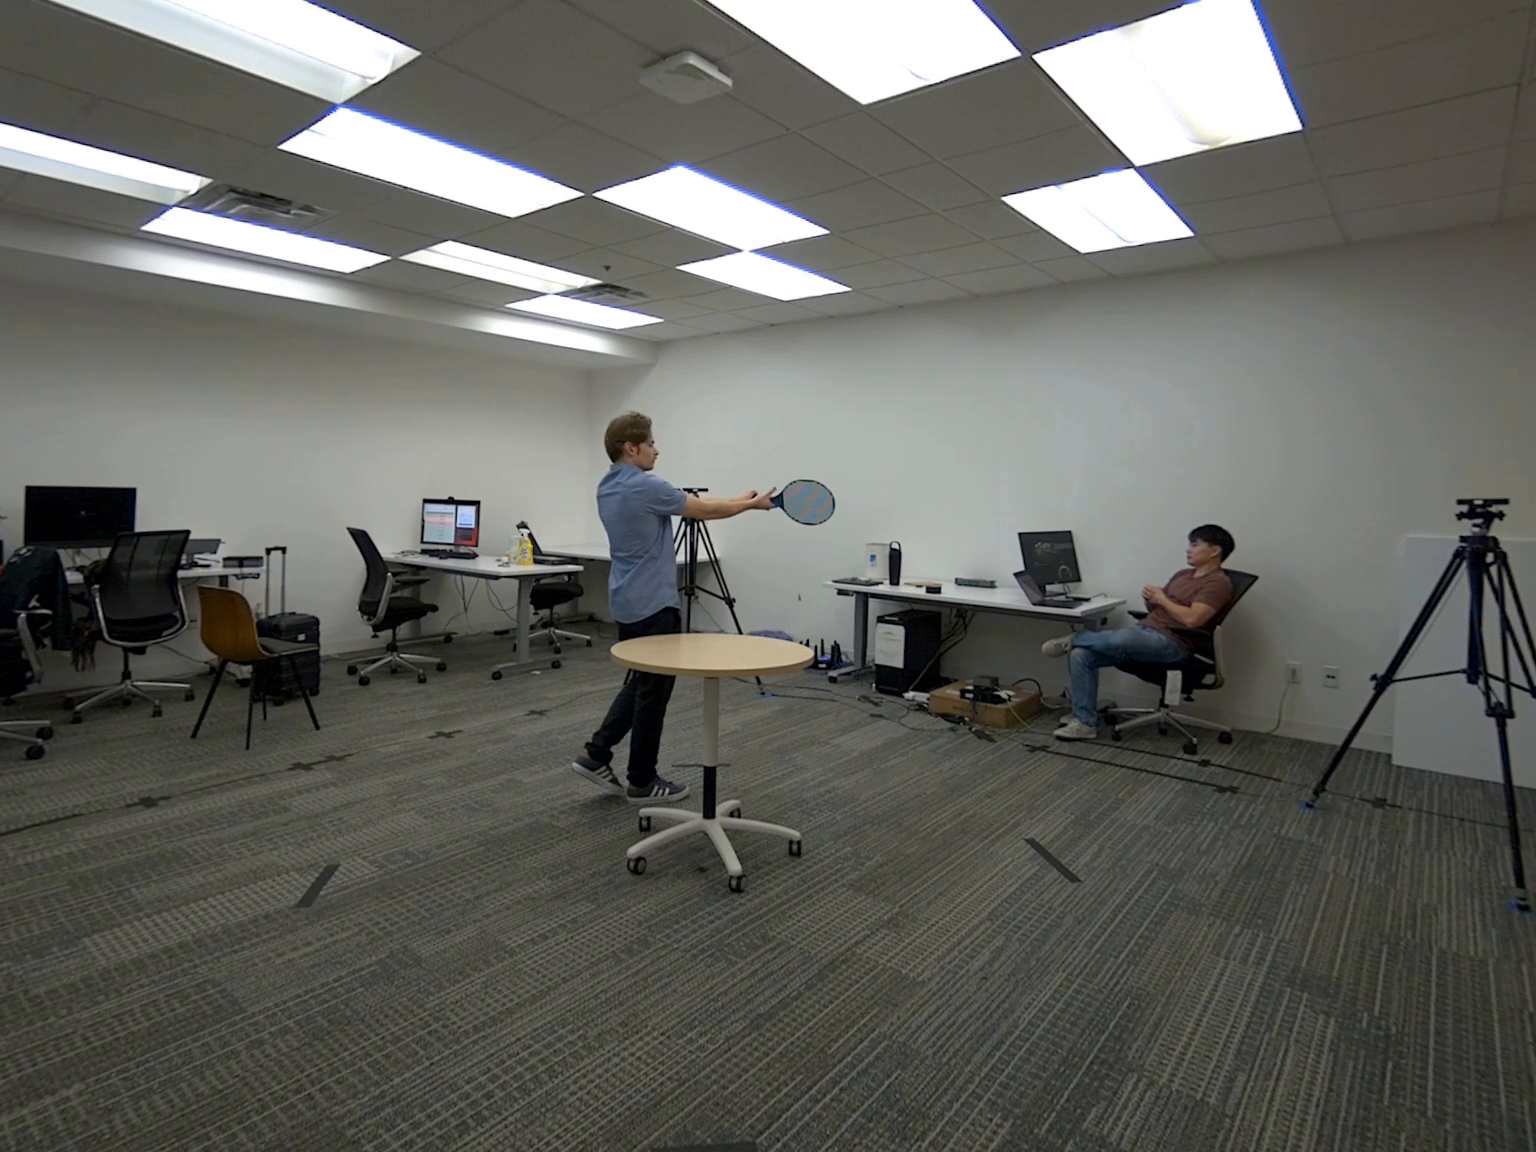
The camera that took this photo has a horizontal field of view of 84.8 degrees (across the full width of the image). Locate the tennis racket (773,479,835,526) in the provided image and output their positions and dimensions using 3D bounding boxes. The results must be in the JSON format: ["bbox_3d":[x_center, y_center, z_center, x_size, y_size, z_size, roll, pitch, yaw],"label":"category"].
[{"bbox_3d":[0.096,-0.342,3.852,0.445,0.210,0.031,0,15,30],"label":"tennis racket"}]
